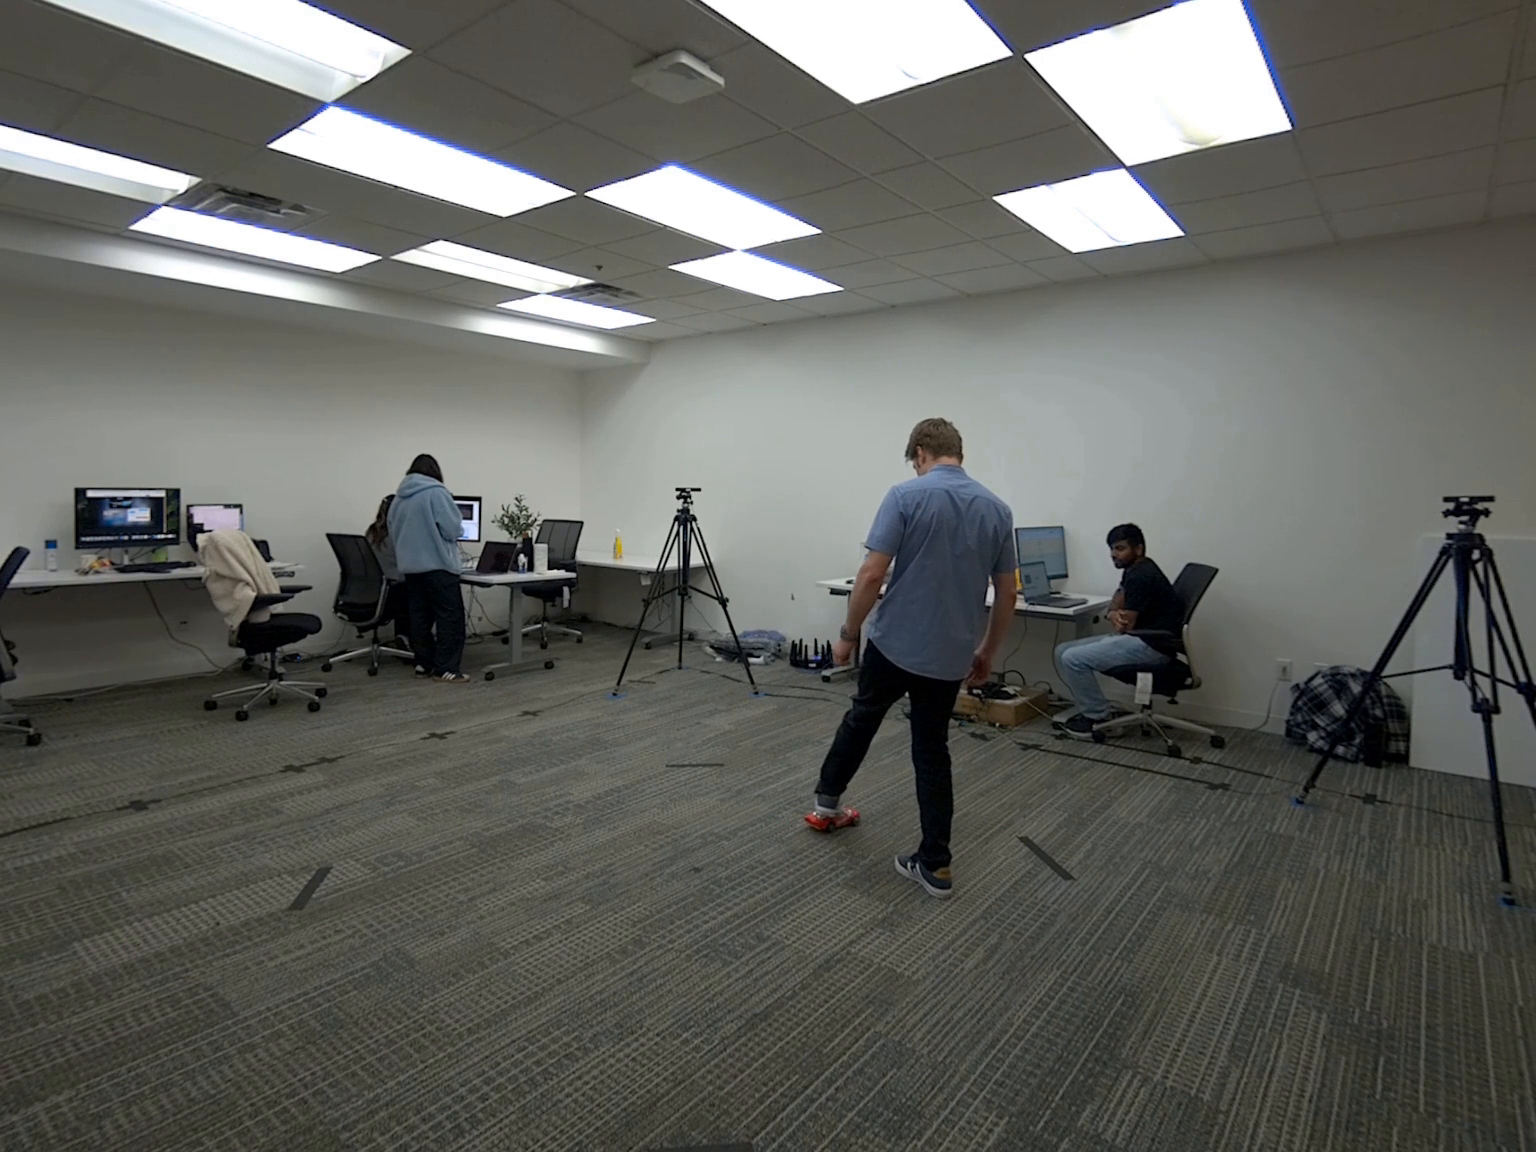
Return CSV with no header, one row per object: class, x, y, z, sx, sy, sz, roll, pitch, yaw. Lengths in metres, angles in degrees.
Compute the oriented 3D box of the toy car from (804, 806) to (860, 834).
toy car,0.259,1.006,3.533,0.246,0.083,0.135,10,0,-37
